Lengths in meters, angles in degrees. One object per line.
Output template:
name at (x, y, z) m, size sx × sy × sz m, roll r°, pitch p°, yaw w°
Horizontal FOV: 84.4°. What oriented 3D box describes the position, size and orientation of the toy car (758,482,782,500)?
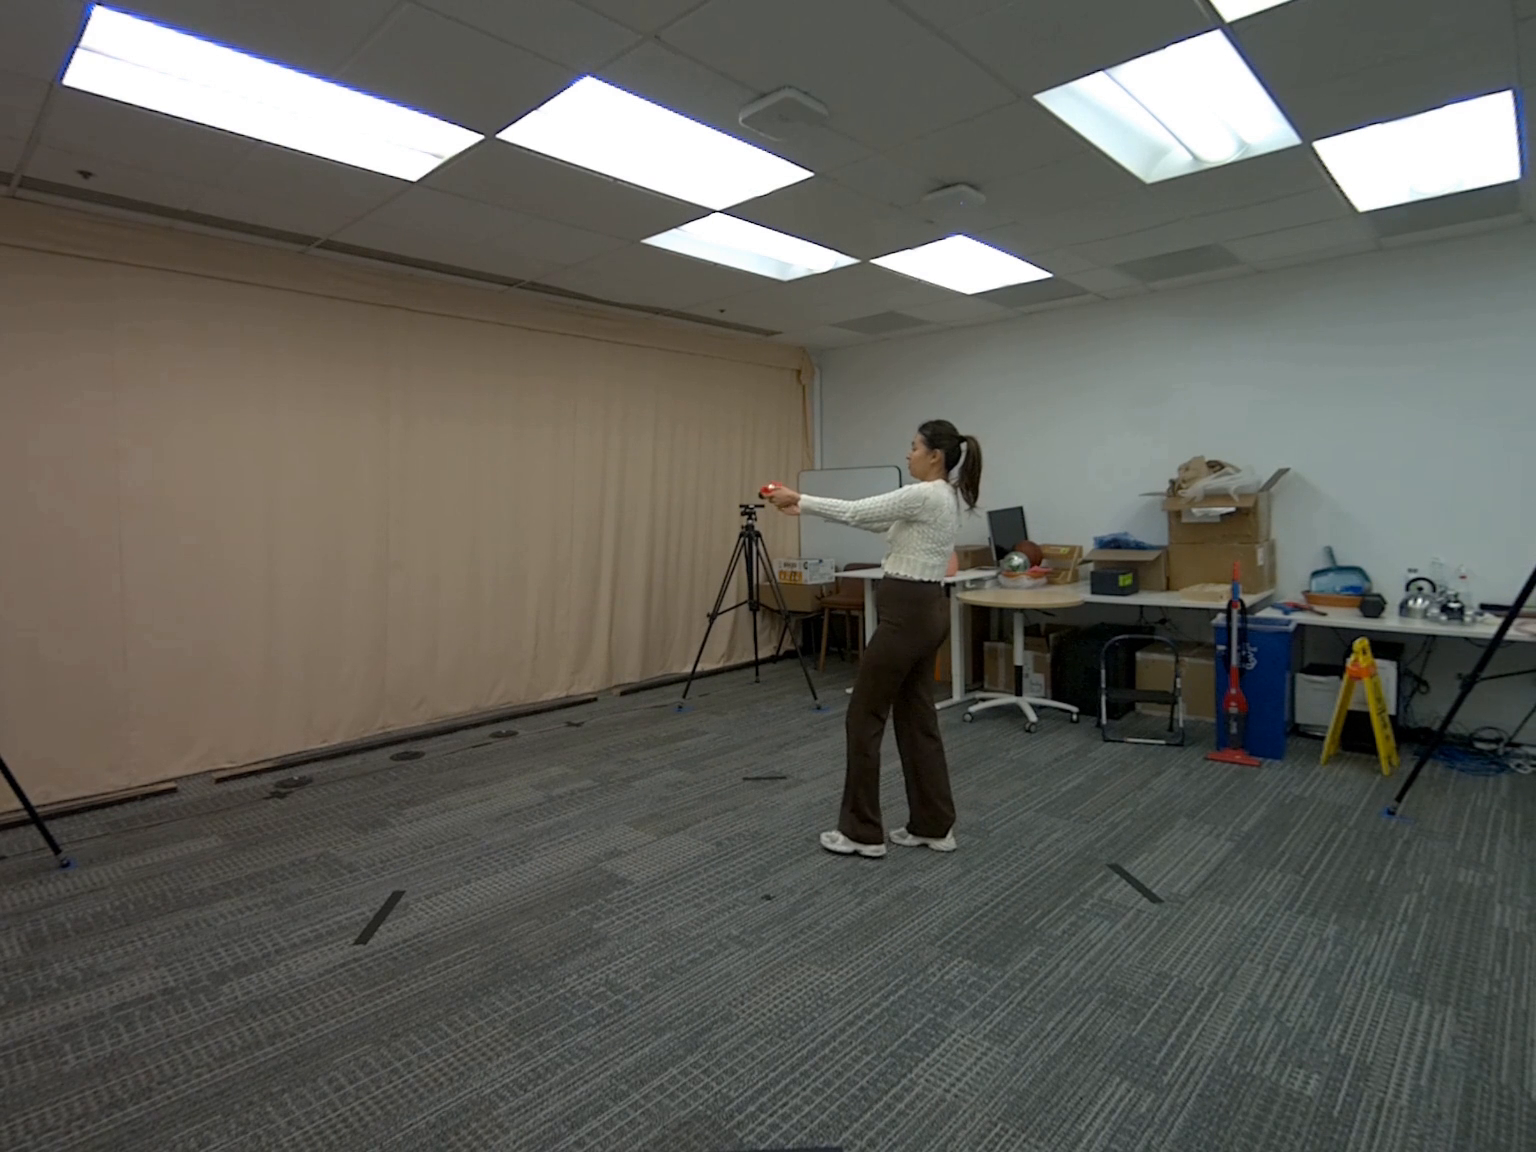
toy car at (0.033, -0.352, 3.618) m, size 0.131 × 0.083 × 0.252 m, roll 14°, pitch -3°, yaw 5°
